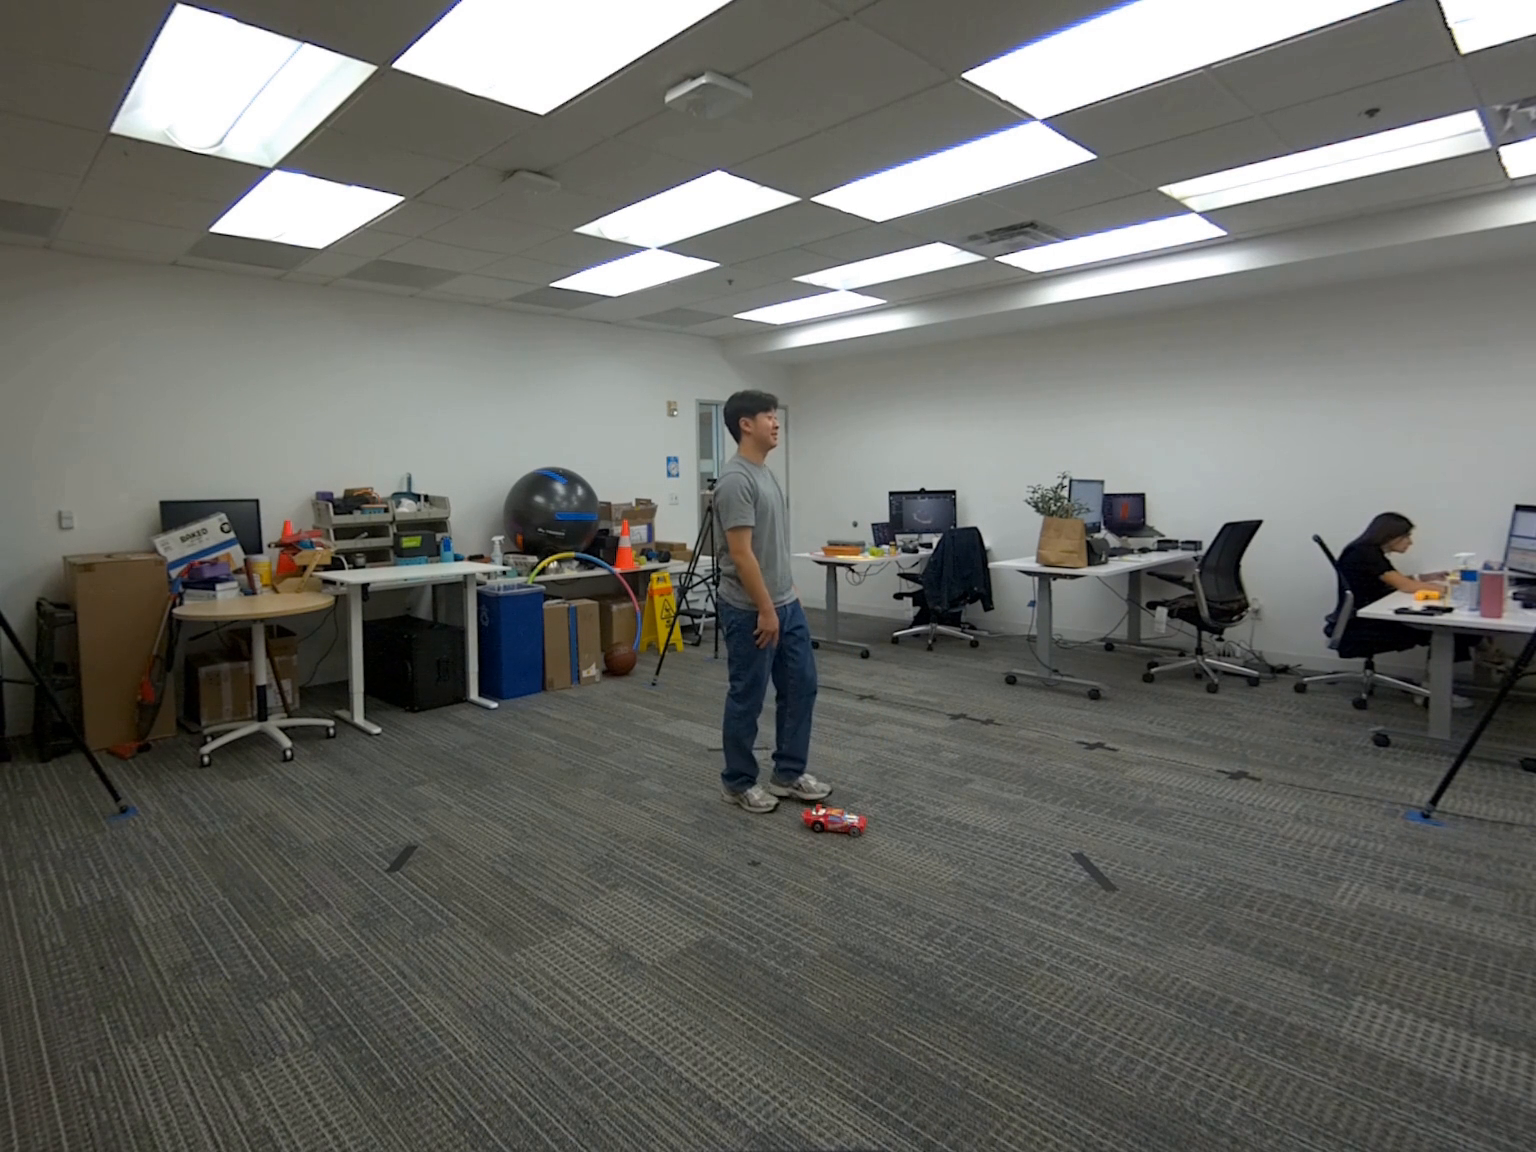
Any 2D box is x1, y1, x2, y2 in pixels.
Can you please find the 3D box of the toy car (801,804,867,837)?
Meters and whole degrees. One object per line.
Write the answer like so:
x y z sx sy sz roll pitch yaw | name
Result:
0.265 0.975 3.397 0.260 0.083 0.128 13 9 18 | toy car
